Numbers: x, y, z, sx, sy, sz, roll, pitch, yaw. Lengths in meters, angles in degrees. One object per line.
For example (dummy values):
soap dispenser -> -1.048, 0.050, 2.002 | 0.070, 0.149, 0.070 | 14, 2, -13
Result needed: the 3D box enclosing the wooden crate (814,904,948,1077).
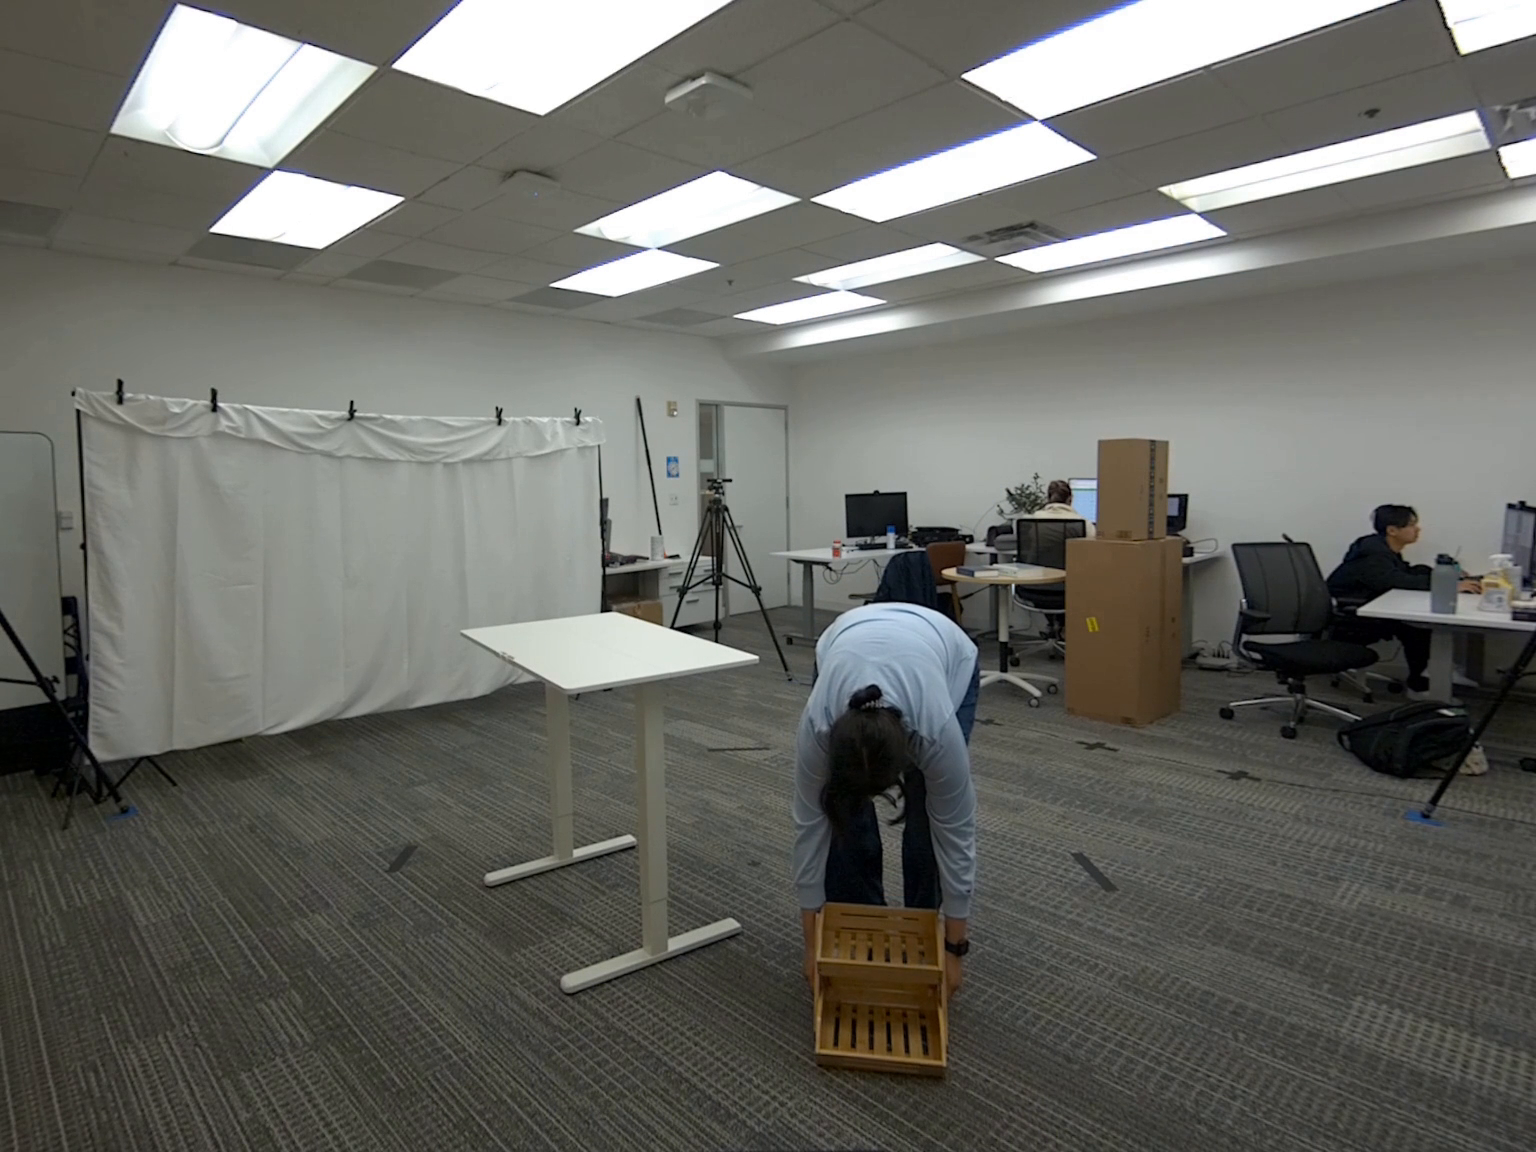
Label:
wooden crate -> 0.284, 1.022, 2.124 | 0.327, 0.272, 0.301 | 0, 6, 9
